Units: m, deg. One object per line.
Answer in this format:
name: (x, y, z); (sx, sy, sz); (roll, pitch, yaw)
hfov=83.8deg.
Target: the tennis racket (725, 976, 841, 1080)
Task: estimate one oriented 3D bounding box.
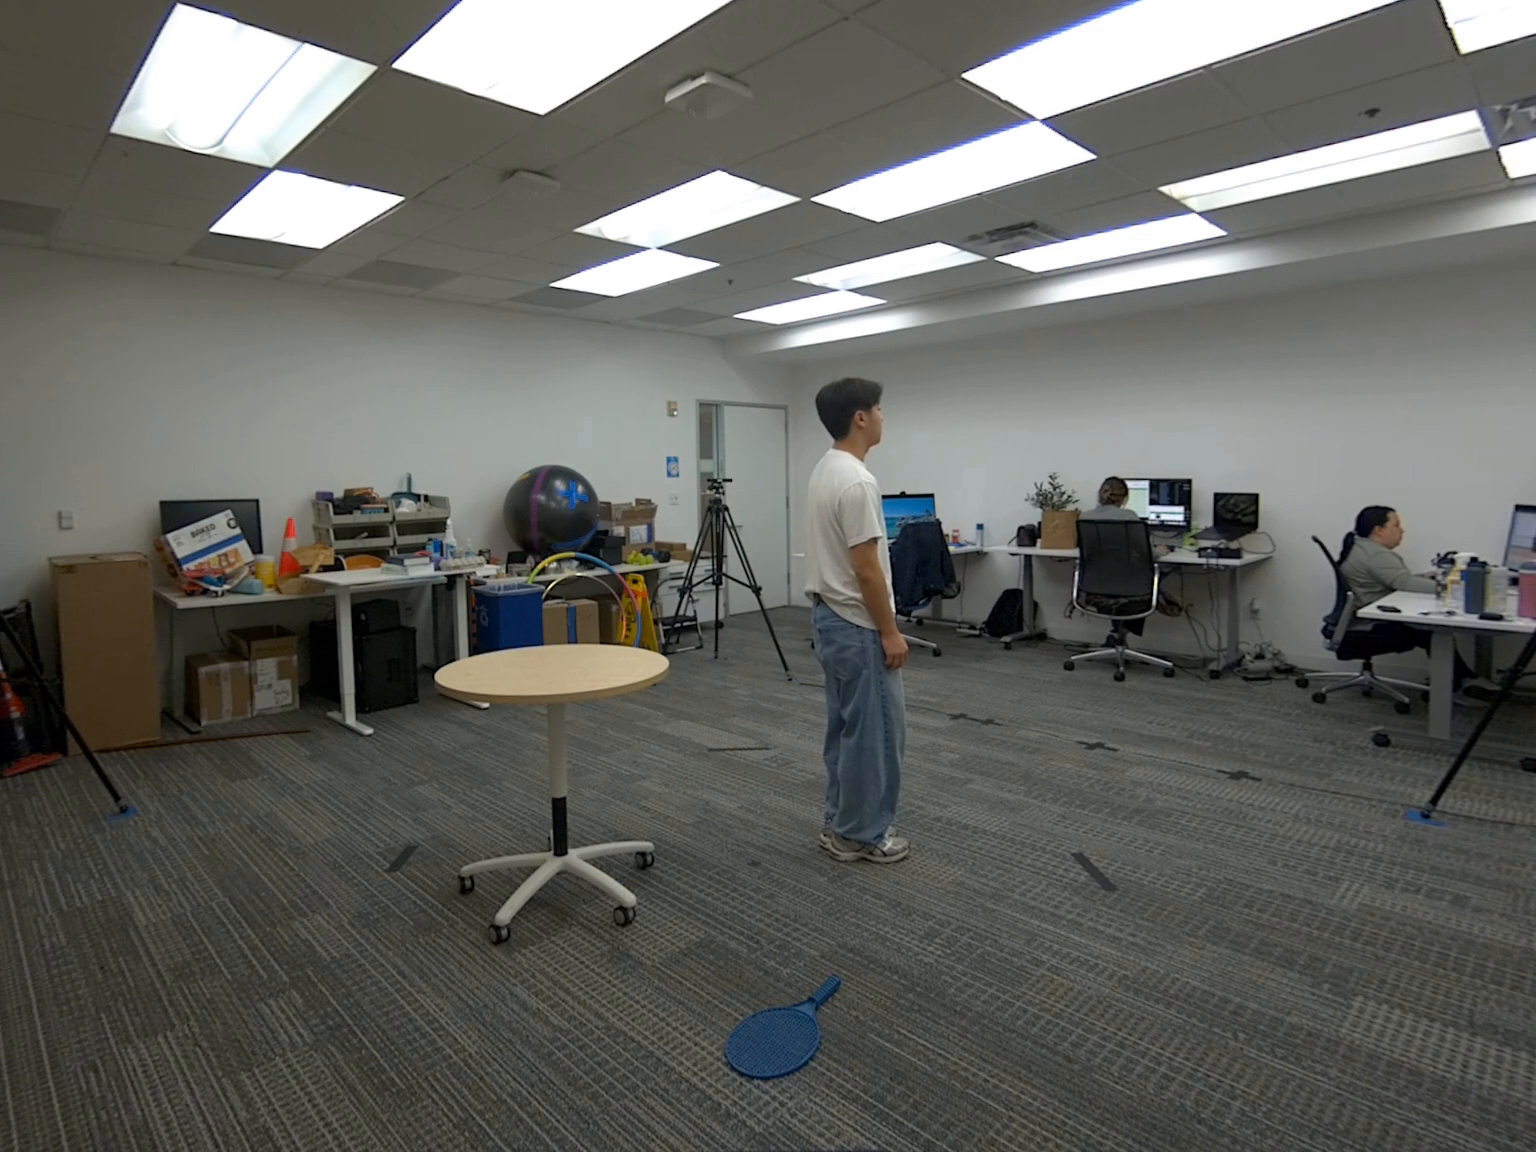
tennis racket: (0.070, 1.141, 2.177); (0.220, 0.031, 0.423); (4, 10, 38)
